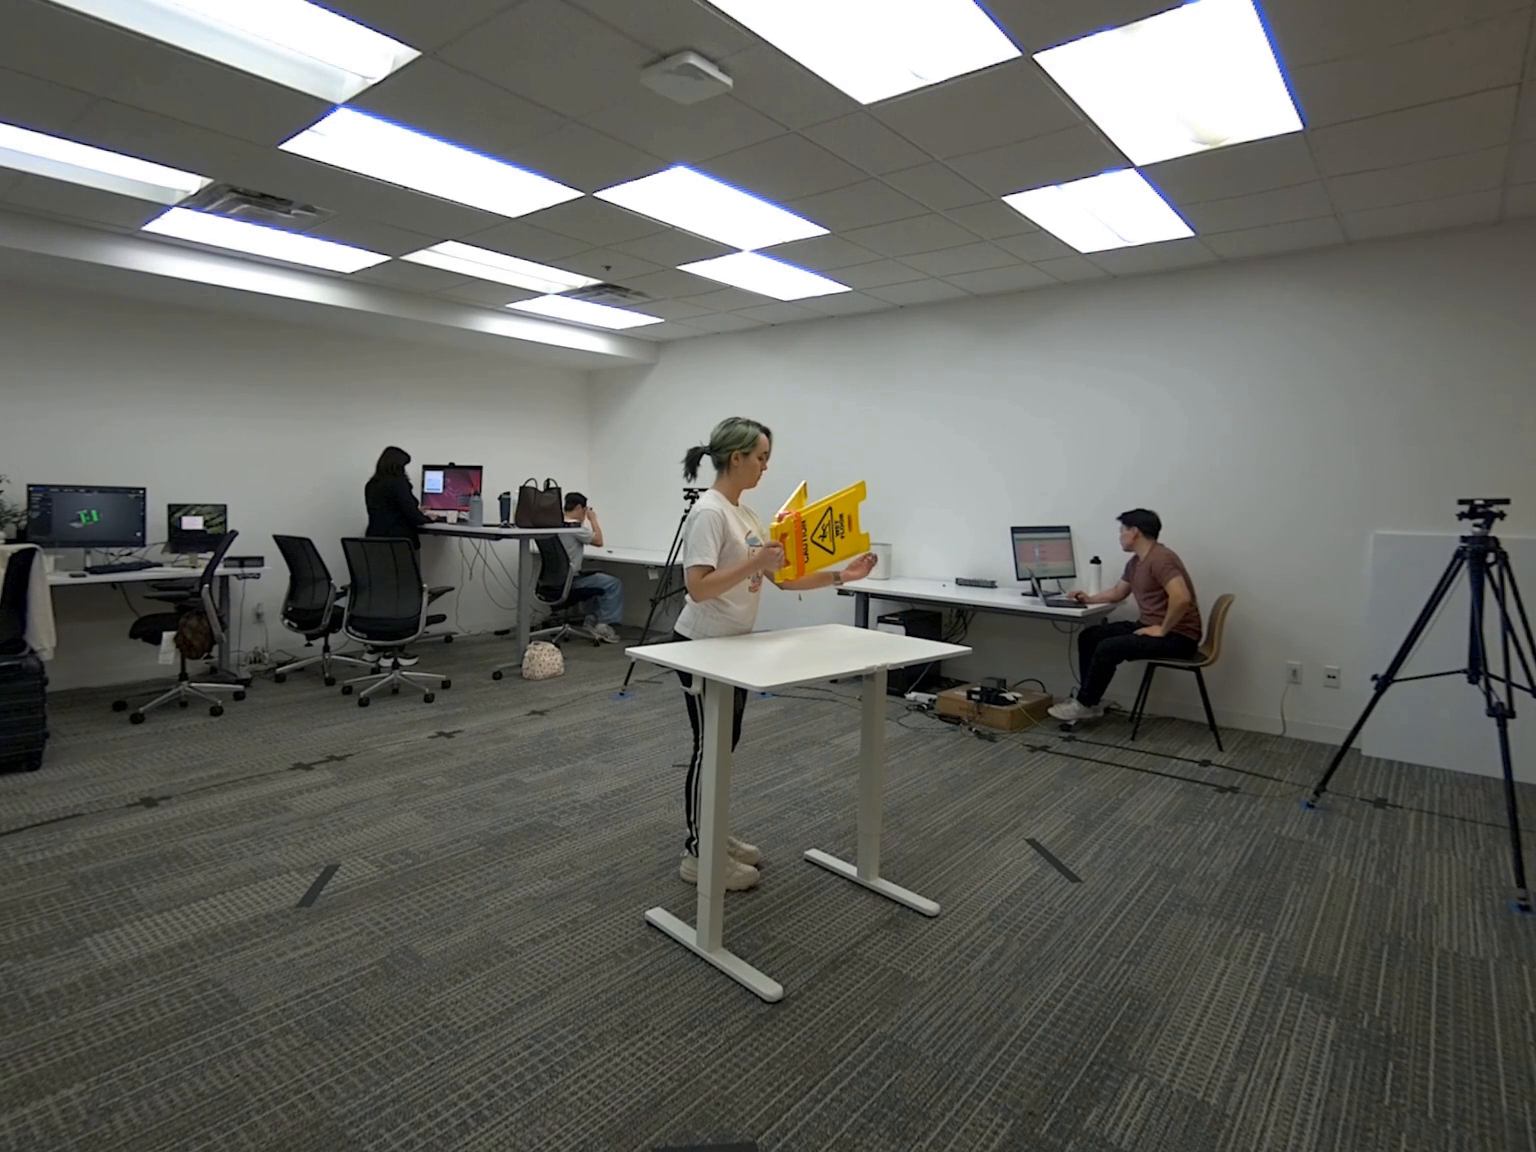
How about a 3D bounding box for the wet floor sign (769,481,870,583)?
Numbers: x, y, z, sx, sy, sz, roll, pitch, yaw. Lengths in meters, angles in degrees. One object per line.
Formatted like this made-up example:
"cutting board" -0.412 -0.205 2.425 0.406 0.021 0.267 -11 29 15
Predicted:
"wet floor sign" 0.139 -0.150 3.085 0.297 0.278 0.639 0 15 24
